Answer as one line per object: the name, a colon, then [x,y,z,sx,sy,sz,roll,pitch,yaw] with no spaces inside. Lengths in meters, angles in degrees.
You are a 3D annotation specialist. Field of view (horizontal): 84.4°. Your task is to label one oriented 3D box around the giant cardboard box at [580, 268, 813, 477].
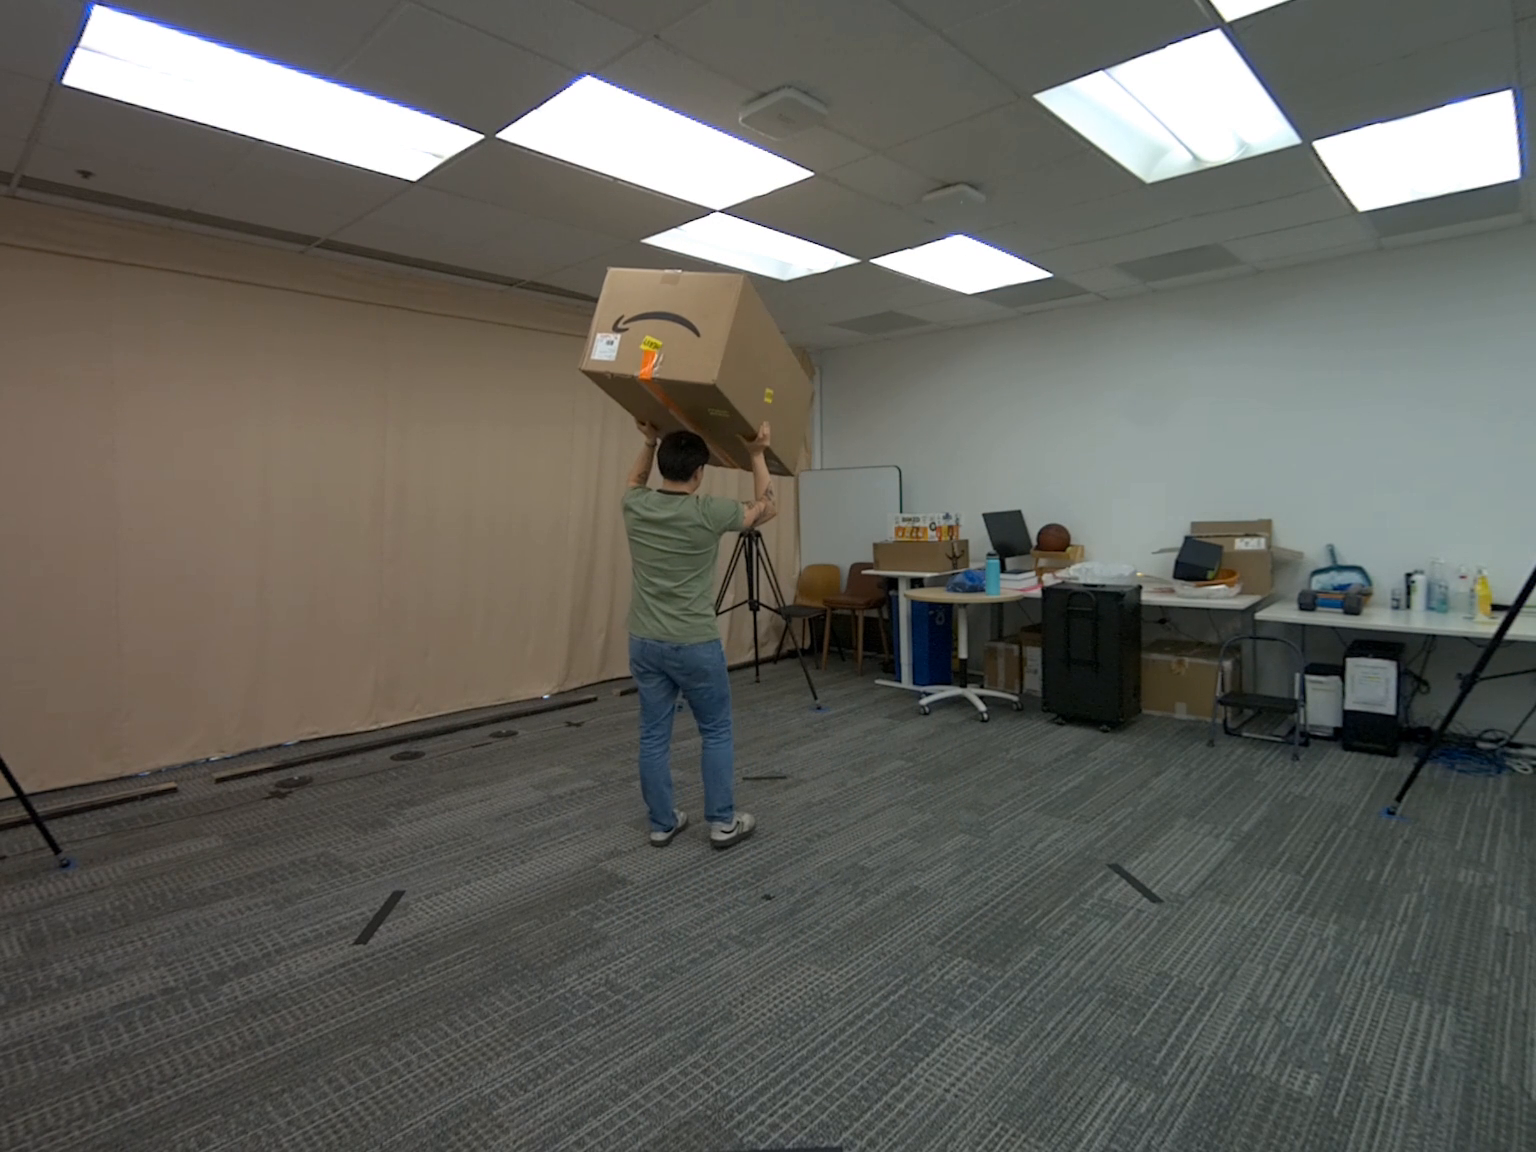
giant cardboard box: [-0.238,-0.800,3.500,0.592,0.427,0.998,11,-9,21]
